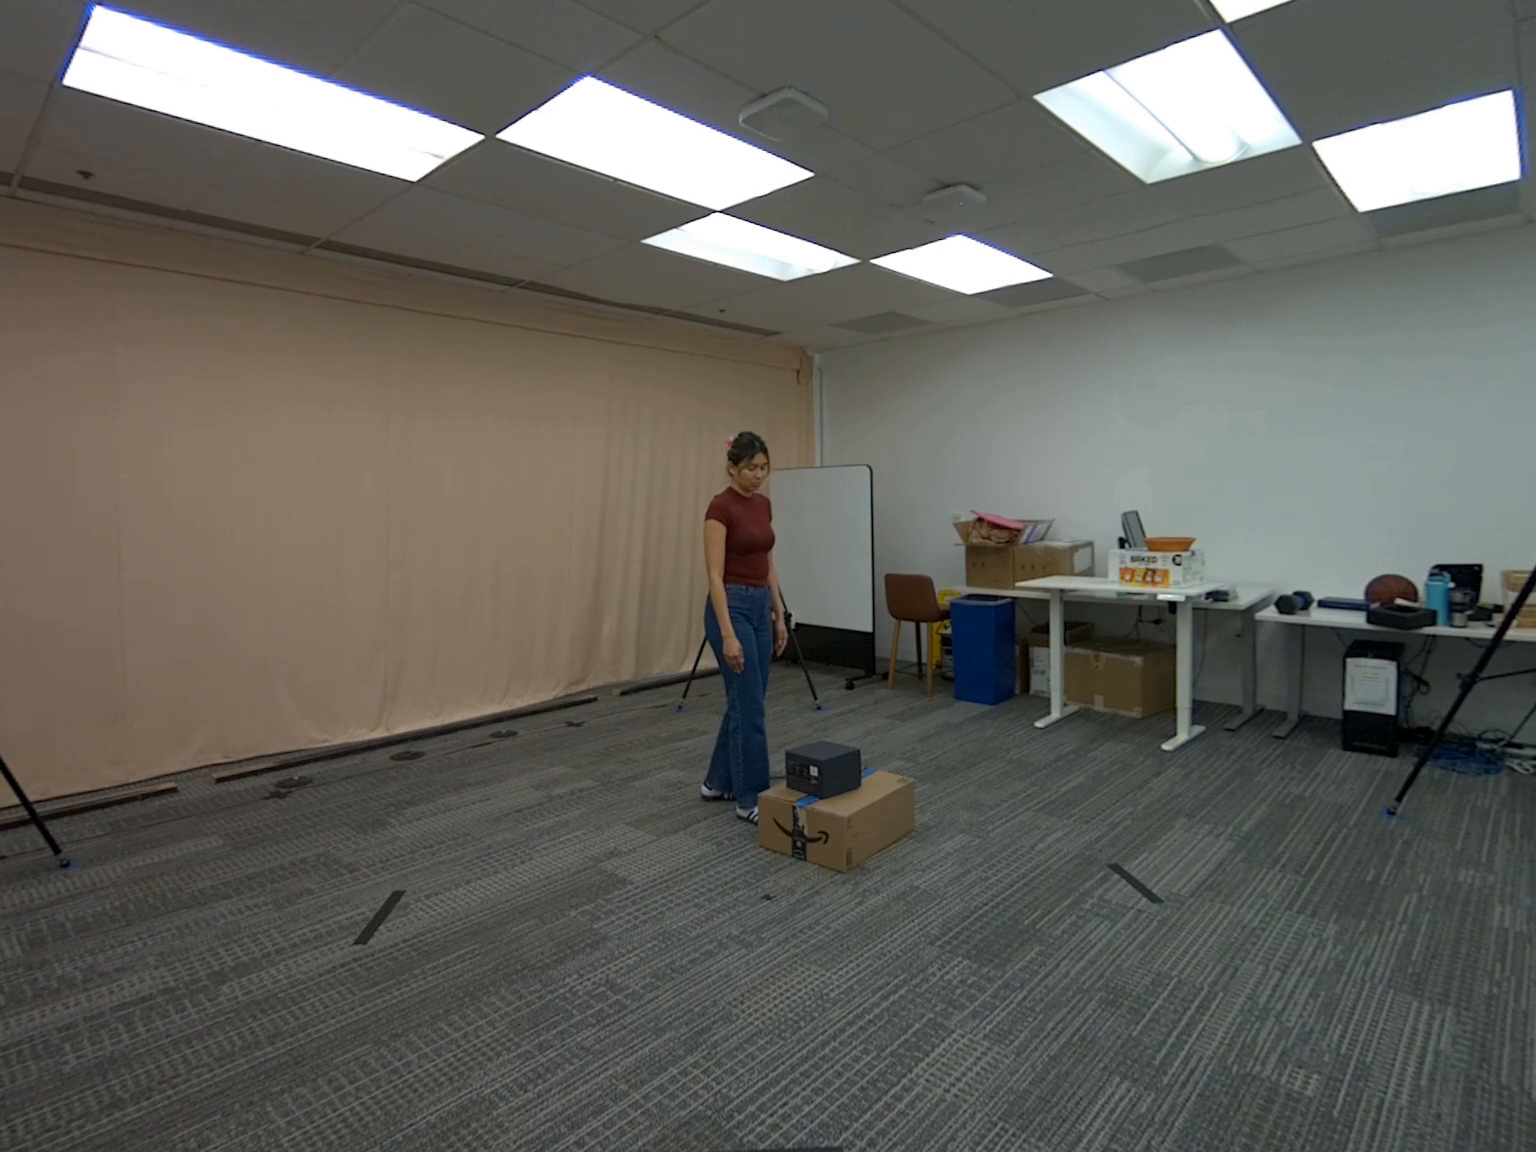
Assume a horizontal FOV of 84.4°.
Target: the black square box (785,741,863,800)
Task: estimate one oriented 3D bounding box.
[{"bbox_3d":[0.229,0.792,3.477,0.221,0.156,0.224,-5,4,-40],"label":"black square box"}]
